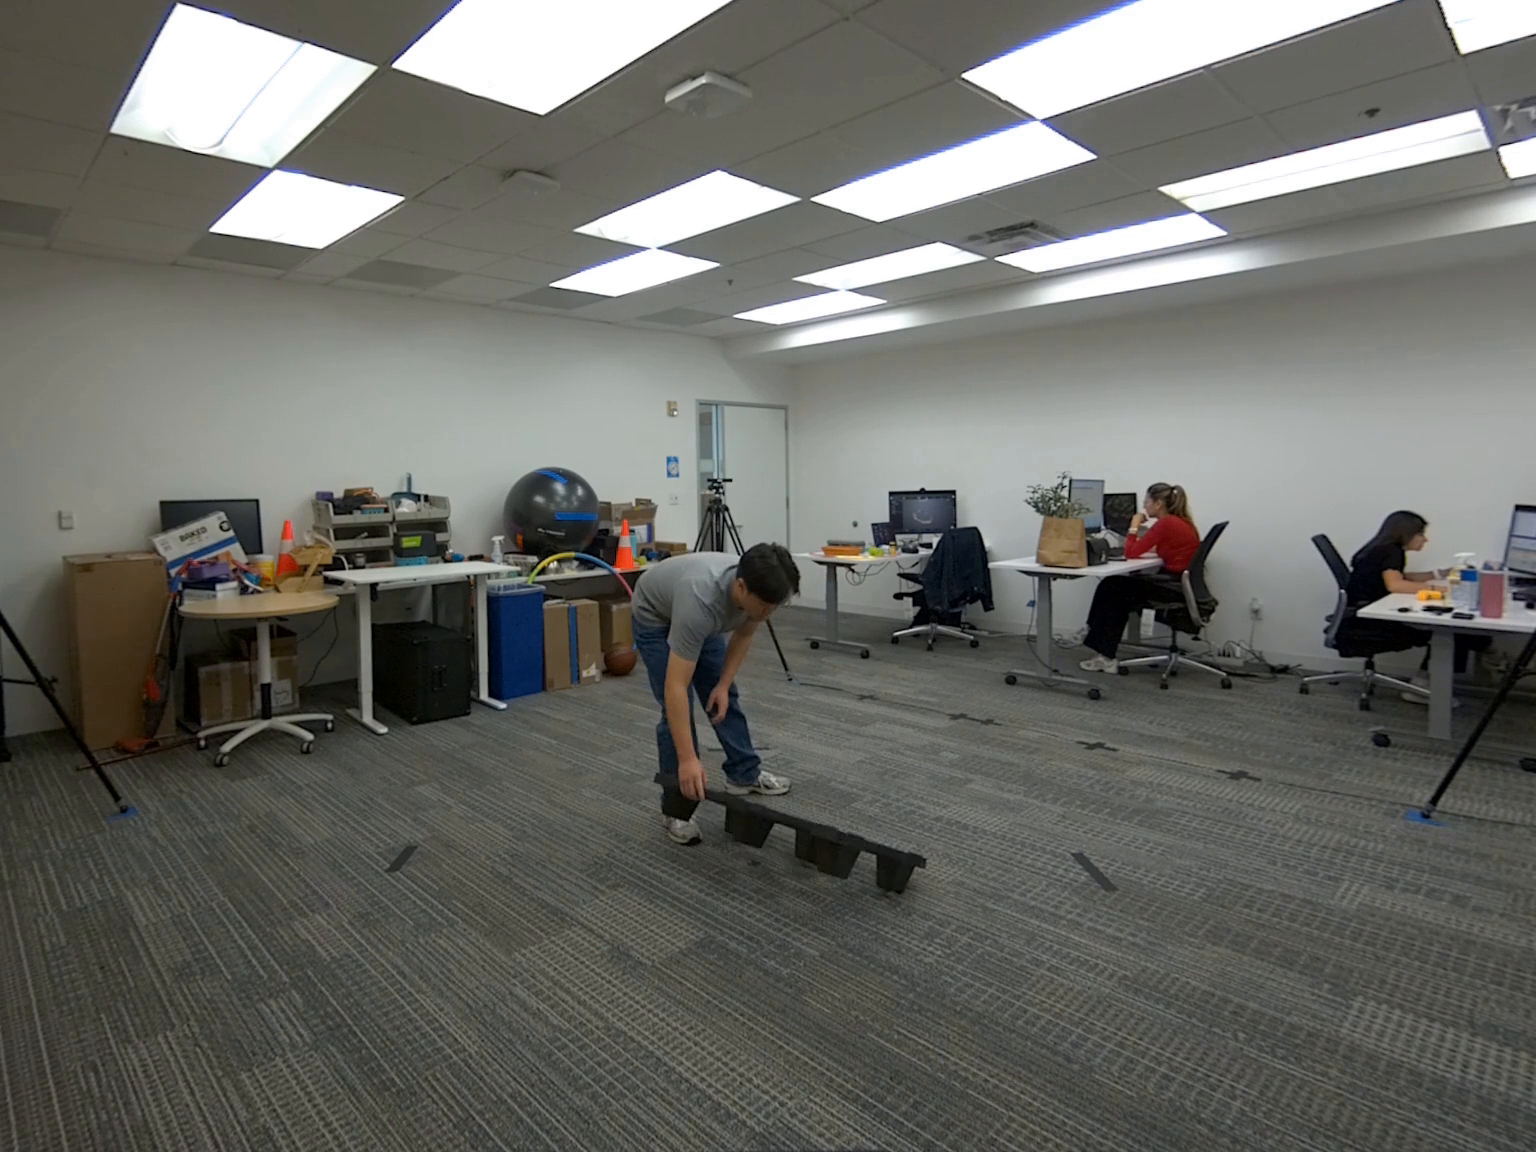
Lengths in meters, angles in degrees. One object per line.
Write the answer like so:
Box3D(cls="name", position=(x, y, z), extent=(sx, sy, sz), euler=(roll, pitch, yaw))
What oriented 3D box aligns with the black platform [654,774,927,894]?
Box3D(cls="black platform", position=(0.063, 0.894, 2.963), extent=(0.830, 0.144, 0.582), euler=(4, -19, 41))
